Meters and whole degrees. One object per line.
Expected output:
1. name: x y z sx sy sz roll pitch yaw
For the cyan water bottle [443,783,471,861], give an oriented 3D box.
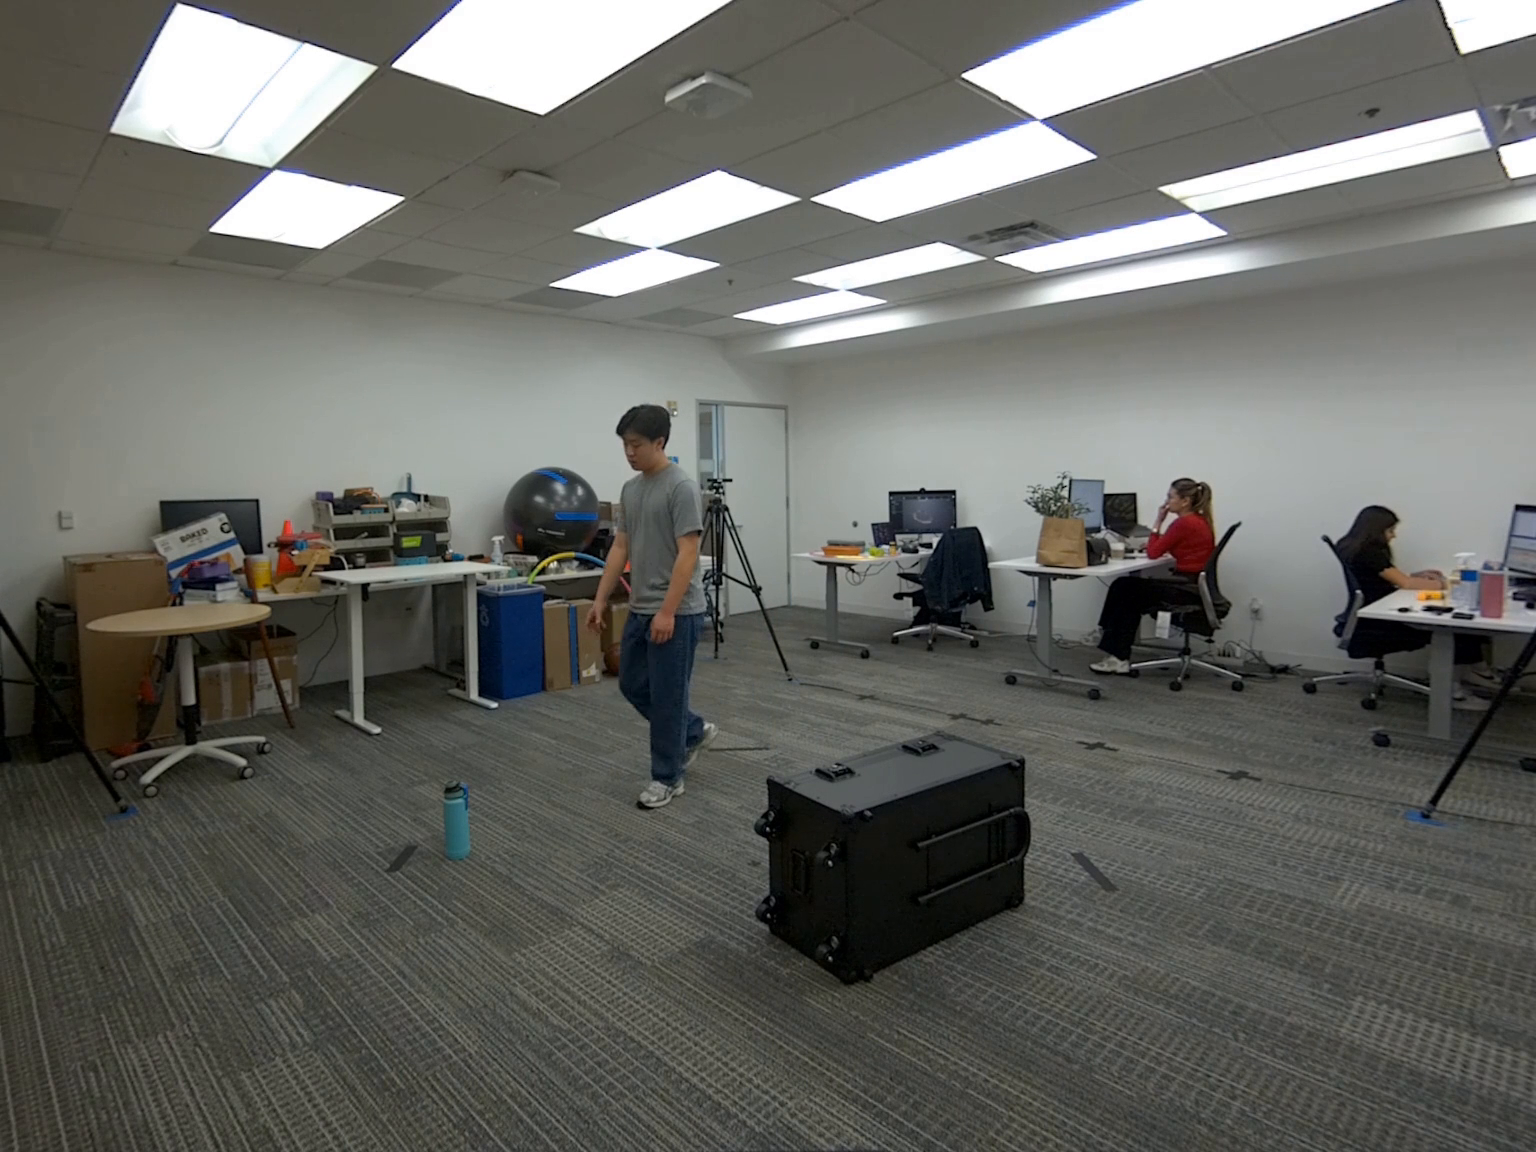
1. cyan water bottle: -1.175 0.916 3.229 0.092 0.283 0.092 -1 2 -2
